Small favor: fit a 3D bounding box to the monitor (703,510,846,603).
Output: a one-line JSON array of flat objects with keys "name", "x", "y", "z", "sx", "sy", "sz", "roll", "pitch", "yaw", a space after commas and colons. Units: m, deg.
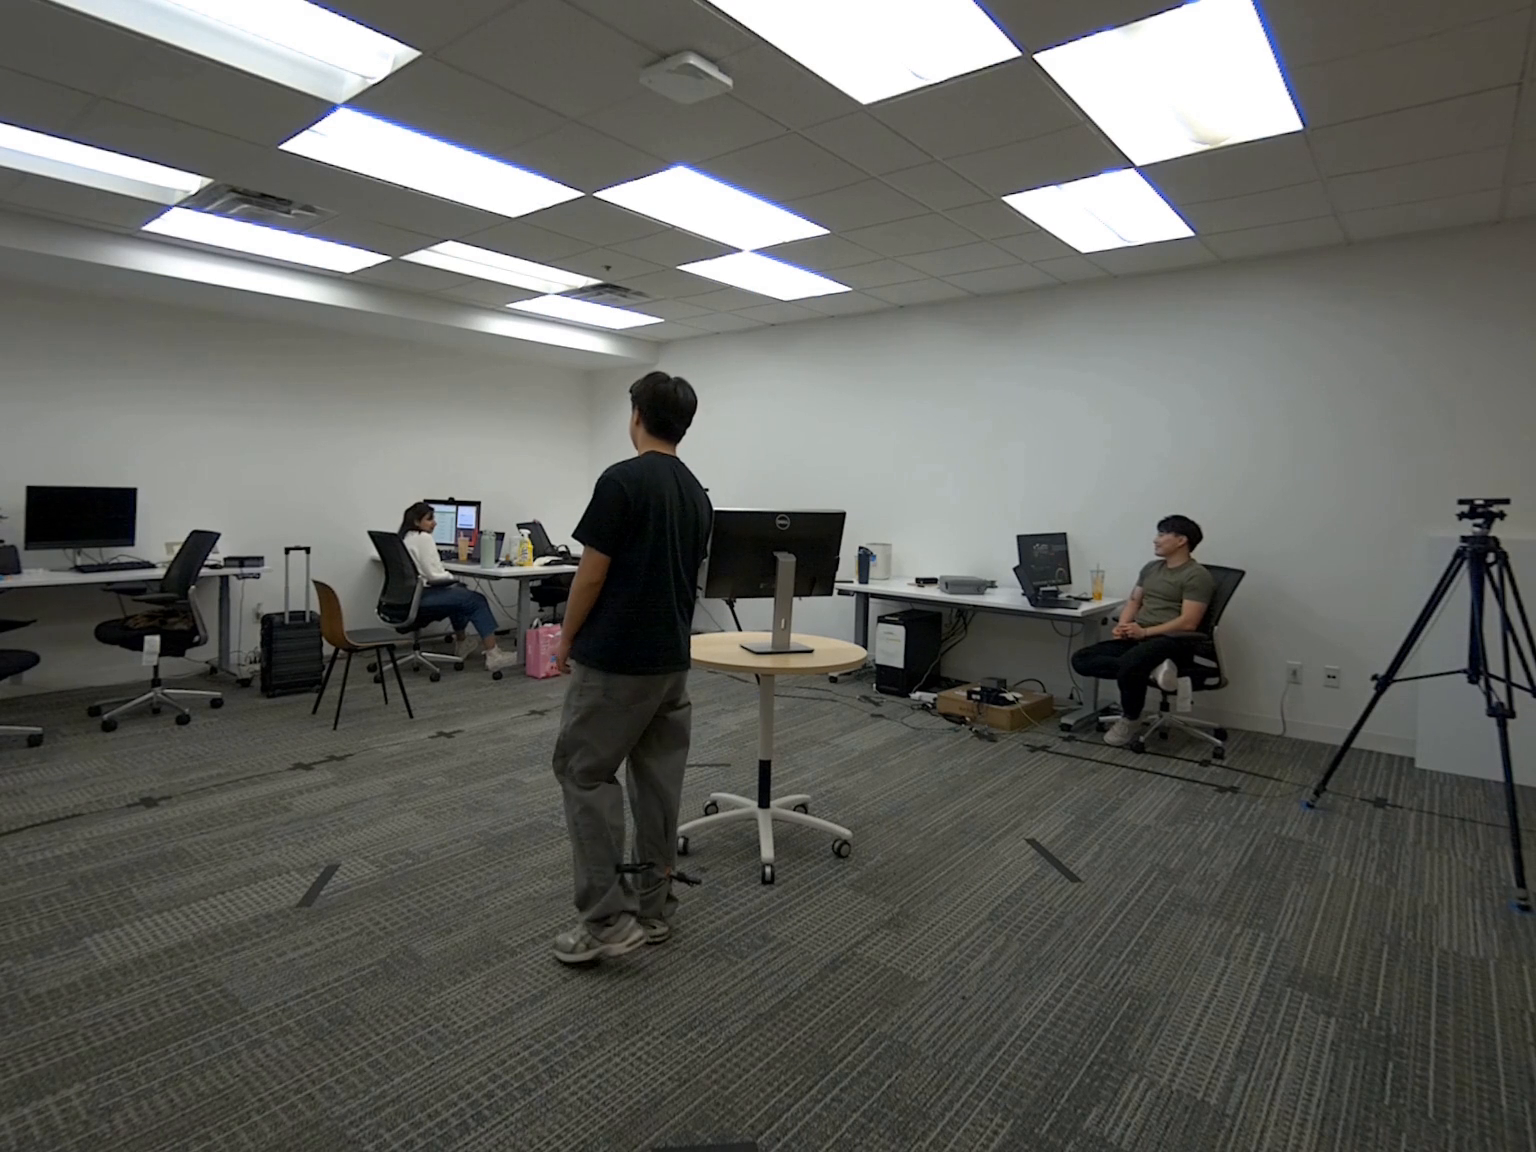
[{"name": "monitor", "x": 0.027, "y": 0.017, "z": 3.300, "sx": 0.552, "sy": 0.565, "sz": 0.226, "roll": 1, "pitch": 2, "yaw": -17}]
